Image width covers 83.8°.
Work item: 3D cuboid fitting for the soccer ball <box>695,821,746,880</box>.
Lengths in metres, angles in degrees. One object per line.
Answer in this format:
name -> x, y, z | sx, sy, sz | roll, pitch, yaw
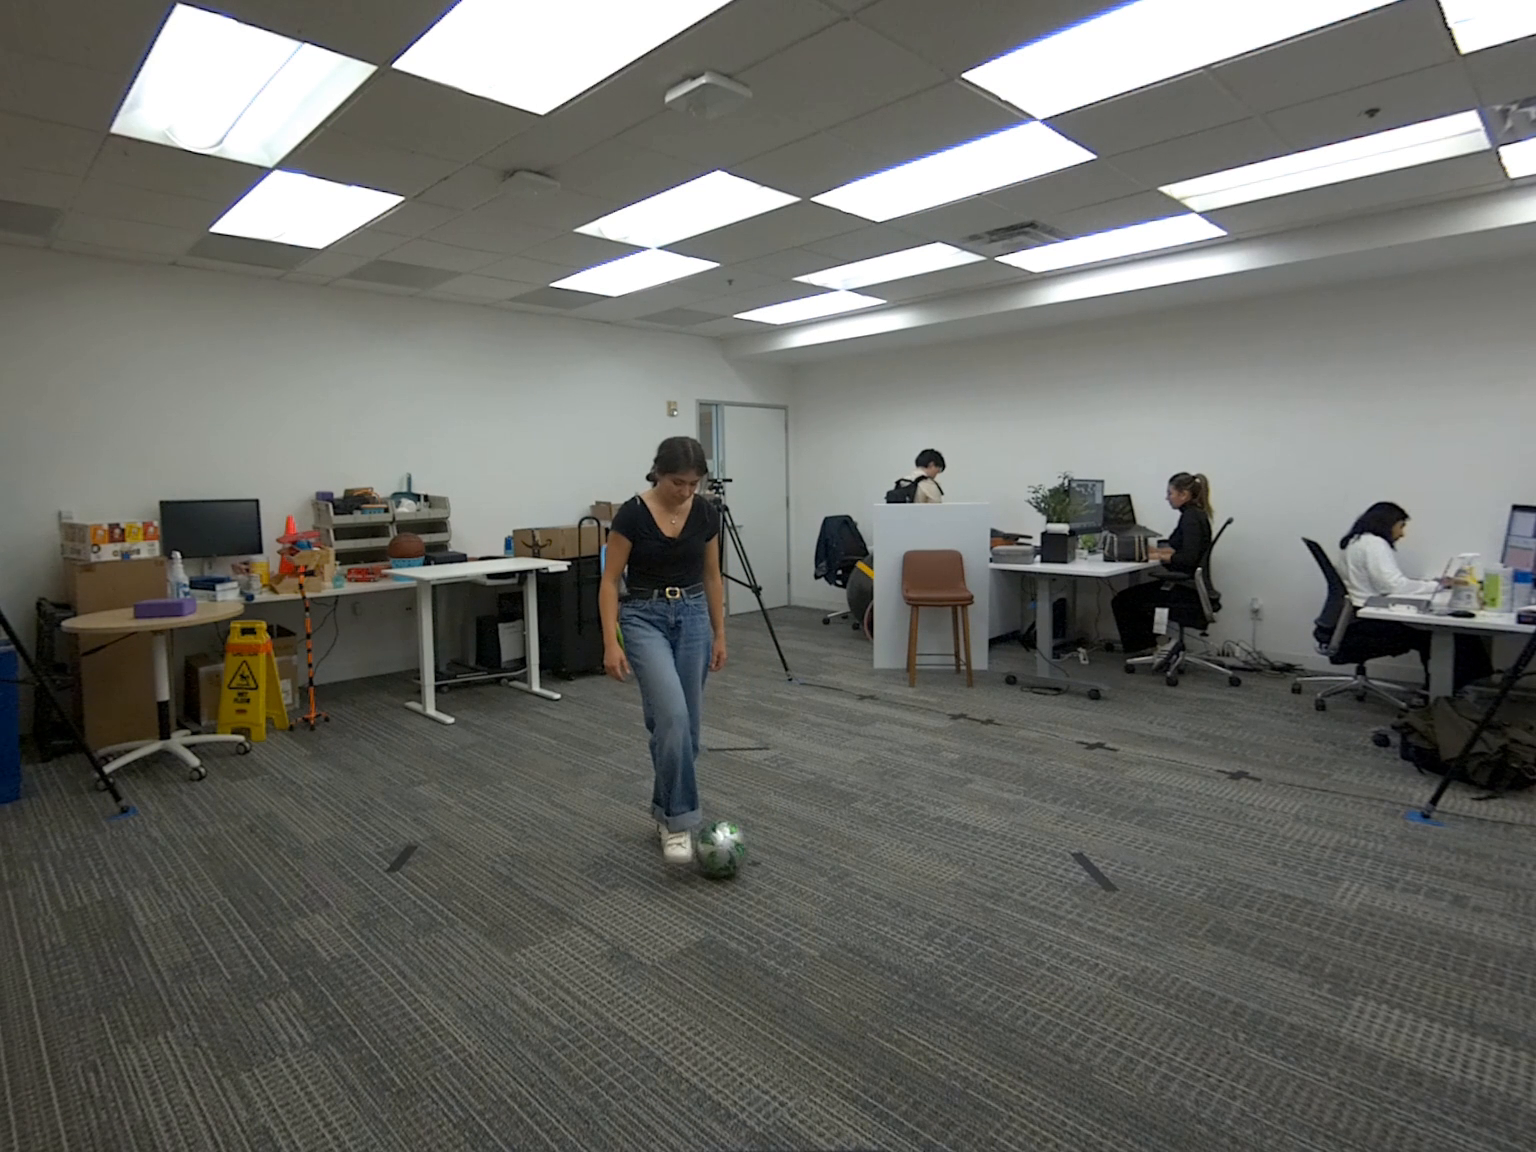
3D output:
soccer ball -> -0.165, 0.957, 3.015 | 0.187, 0.187, 0.188 | -1, 5, -2
